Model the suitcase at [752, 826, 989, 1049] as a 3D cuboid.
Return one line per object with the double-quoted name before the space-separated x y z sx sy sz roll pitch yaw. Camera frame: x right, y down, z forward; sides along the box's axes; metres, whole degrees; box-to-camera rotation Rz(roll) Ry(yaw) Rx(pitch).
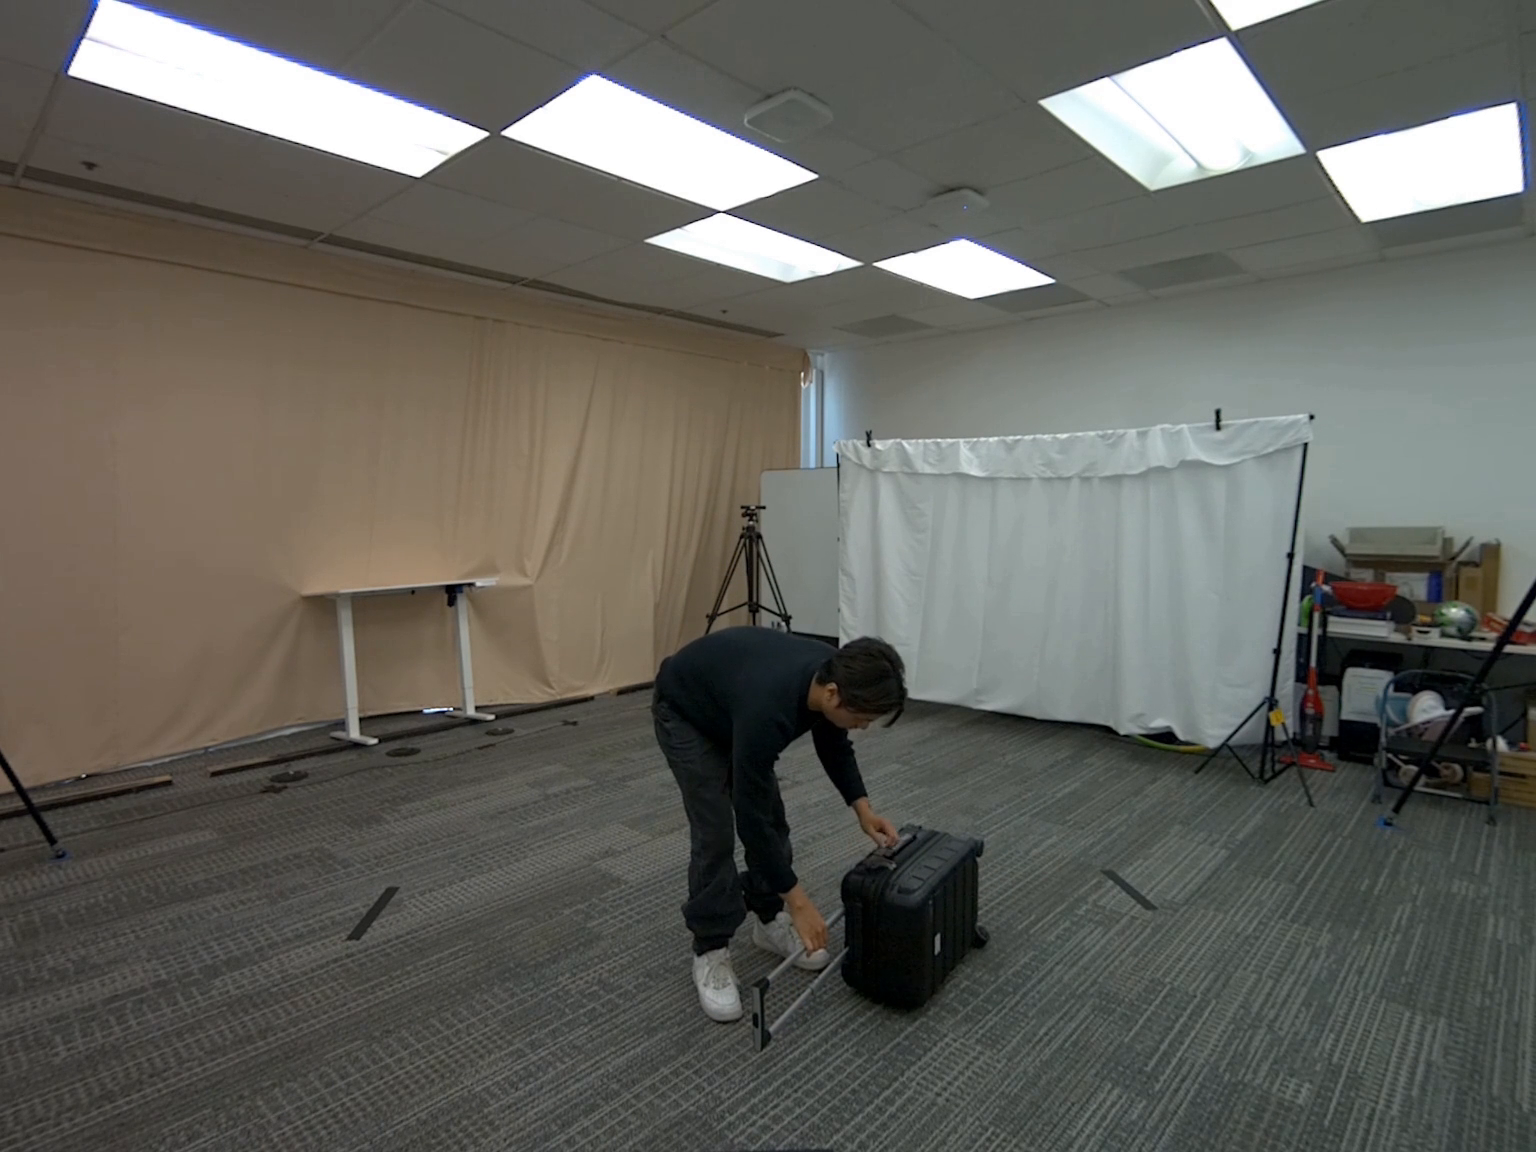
"suitcase" 0.336 1.014 2.339 0.265 0.383 0.951 2 5 34
